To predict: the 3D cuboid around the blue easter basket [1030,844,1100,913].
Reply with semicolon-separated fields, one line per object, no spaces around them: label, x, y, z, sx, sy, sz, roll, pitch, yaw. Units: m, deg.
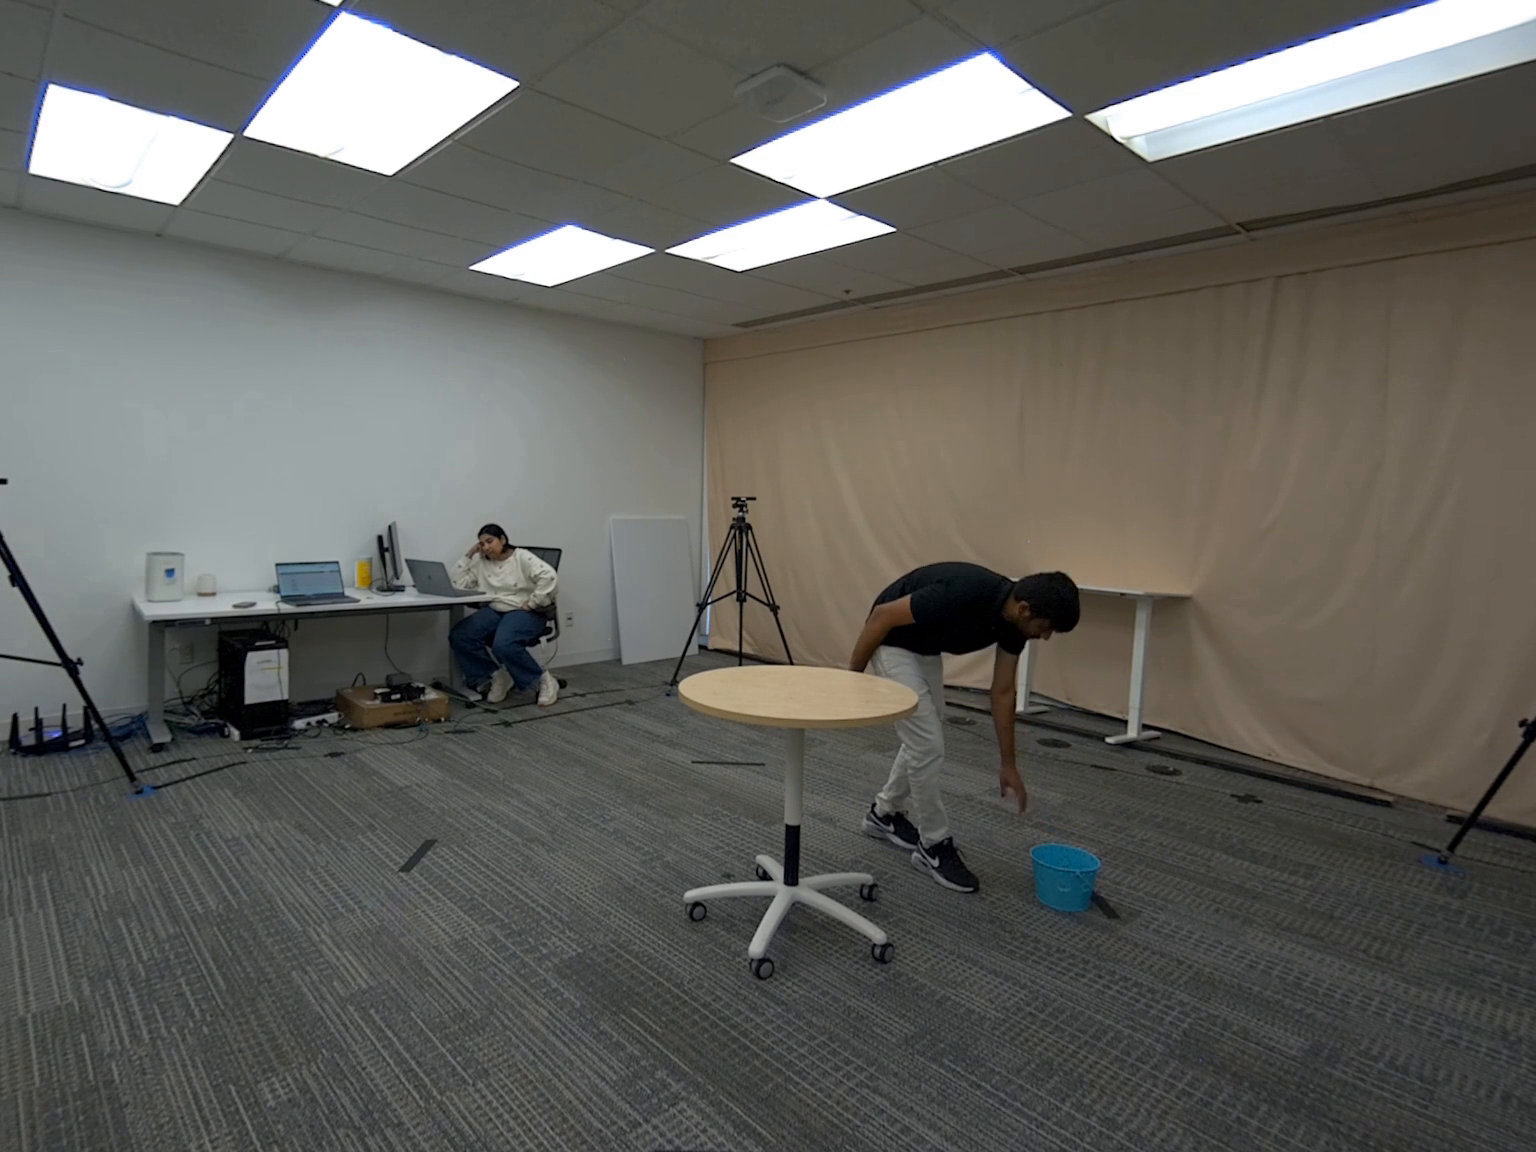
blue easter basket;1.046;1.072;2.989;0.243;0.155;0.244;1;5;-1
